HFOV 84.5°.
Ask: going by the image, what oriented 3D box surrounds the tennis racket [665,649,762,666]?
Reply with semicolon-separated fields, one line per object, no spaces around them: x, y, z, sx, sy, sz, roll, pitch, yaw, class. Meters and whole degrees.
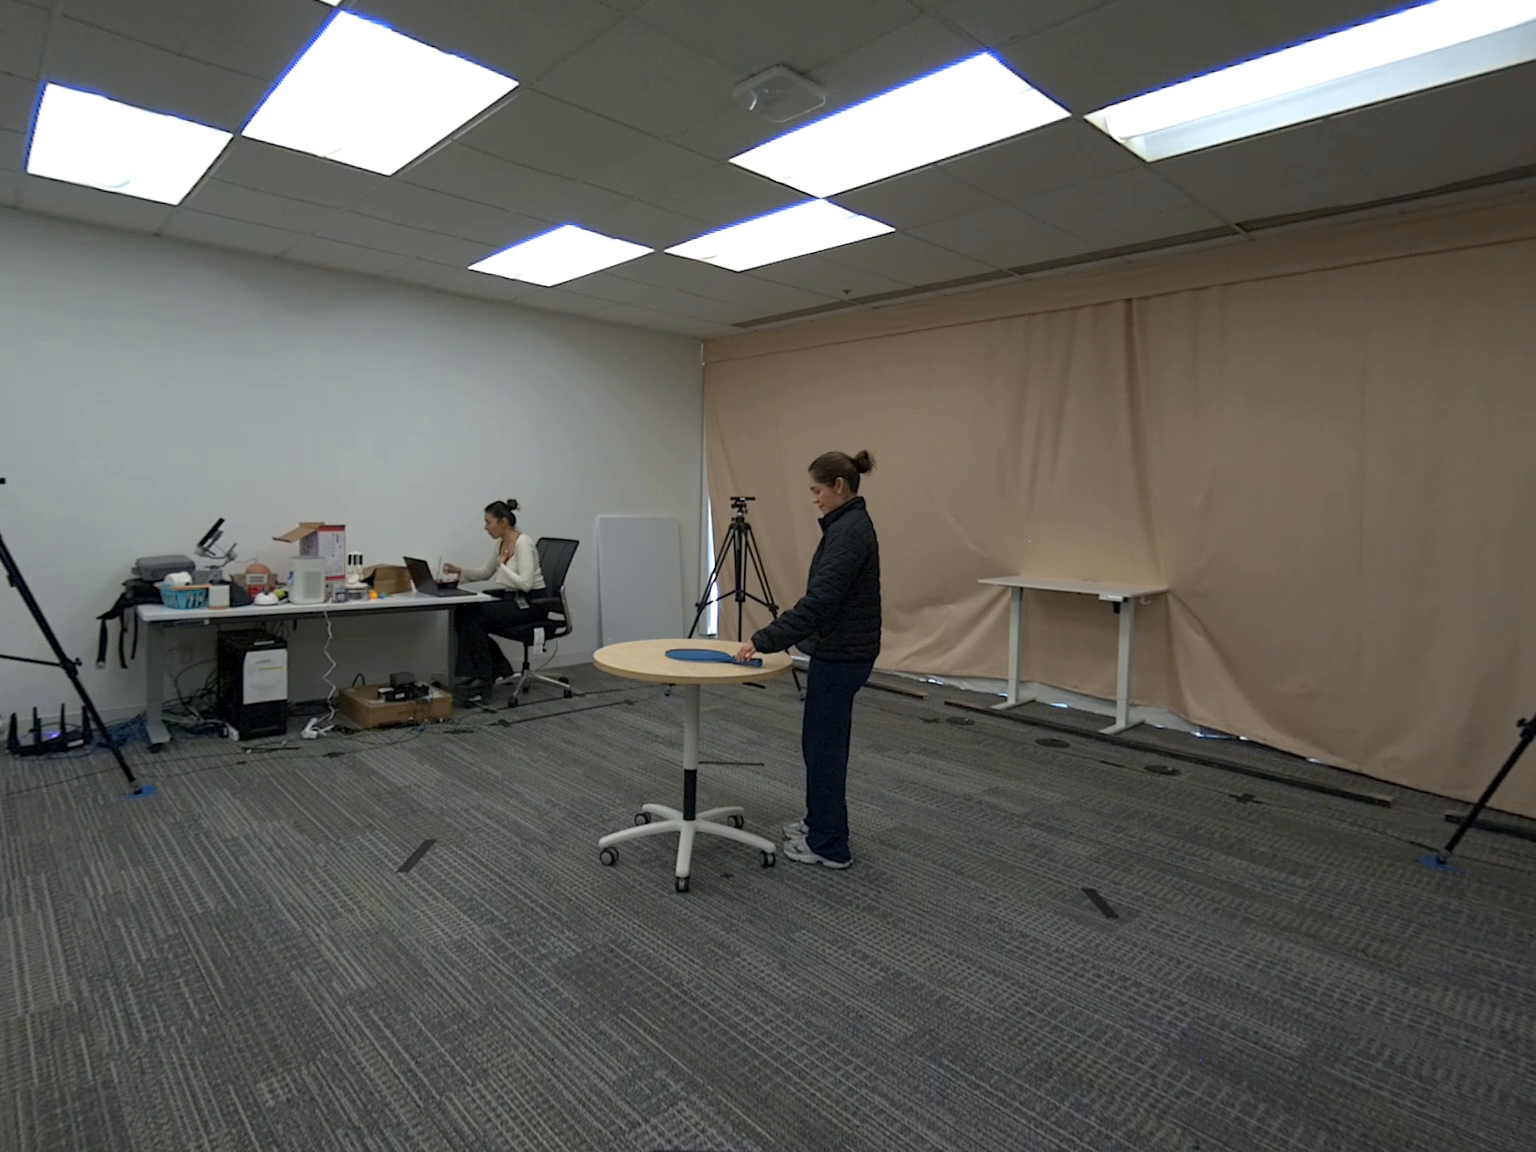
-0.208;0.305;3.170;0.443;0.031;0.209;4;6;38;tennis racket
